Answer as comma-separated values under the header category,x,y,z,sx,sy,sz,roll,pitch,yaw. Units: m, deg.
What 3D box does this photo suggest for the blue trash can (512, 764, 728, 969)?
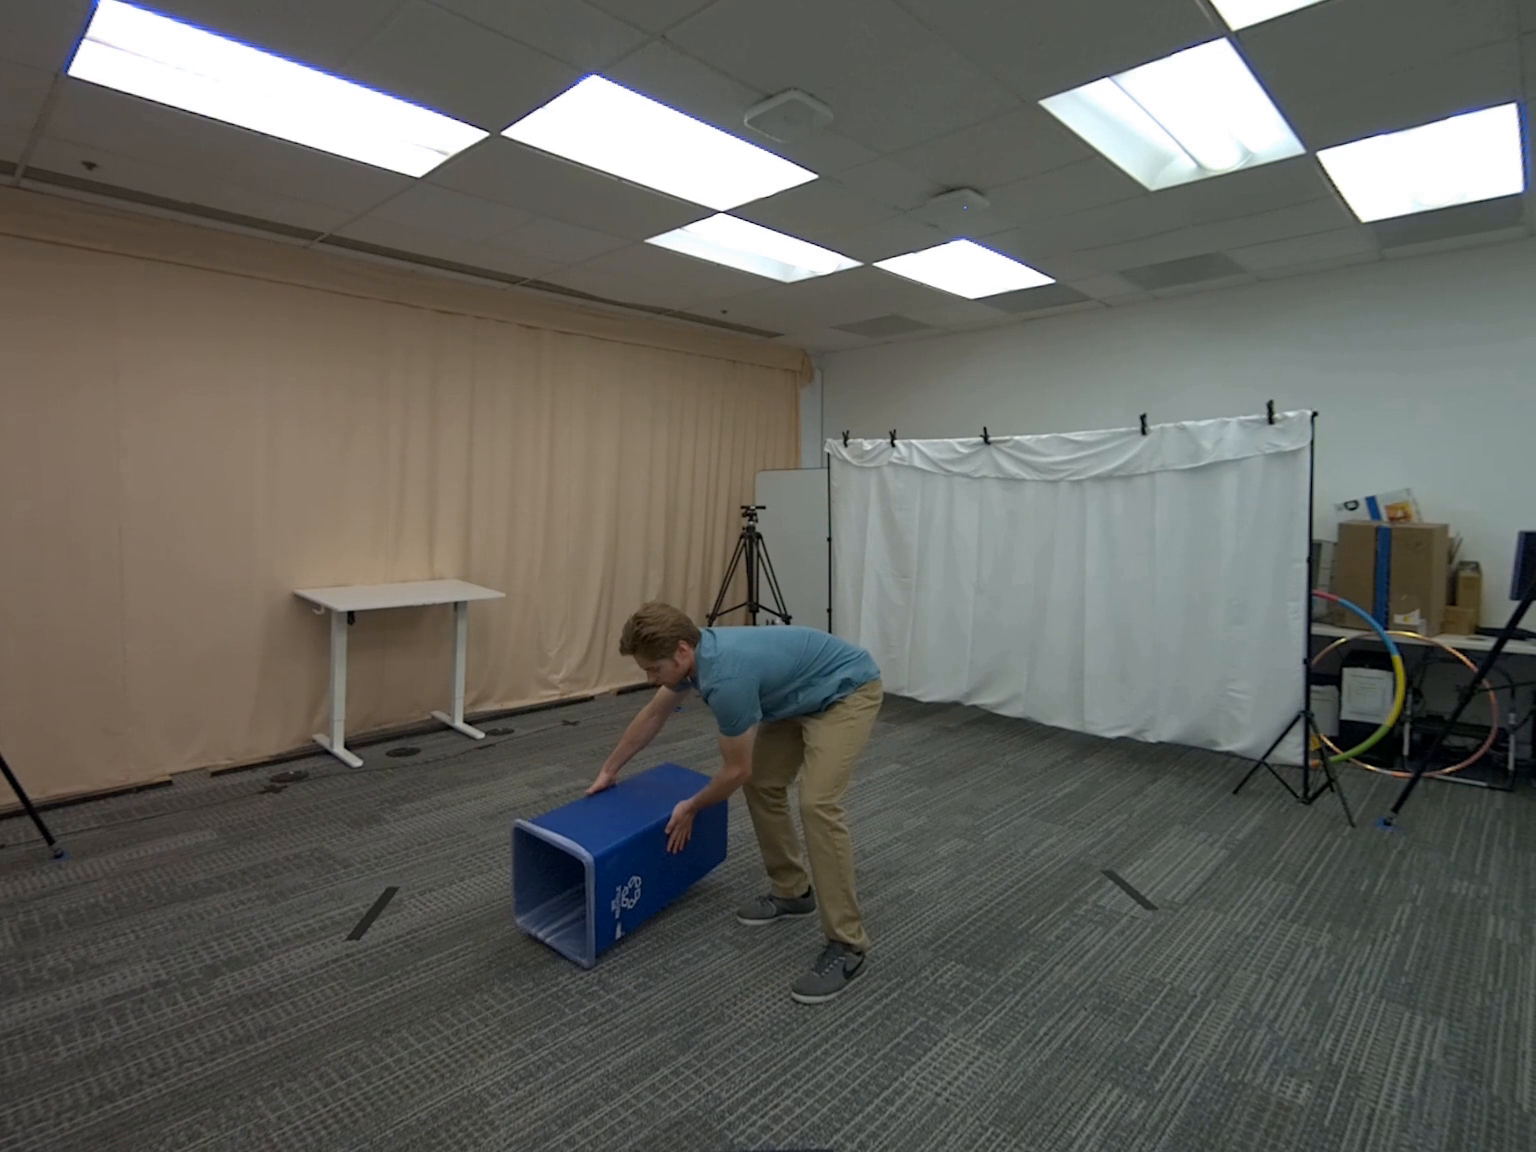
category,x,y,z,sx,sy,sz,roll,pitch,yaw
blue trash can,-0.477,0.928,2.868,0.386,0.376,0.694,8,11,36
